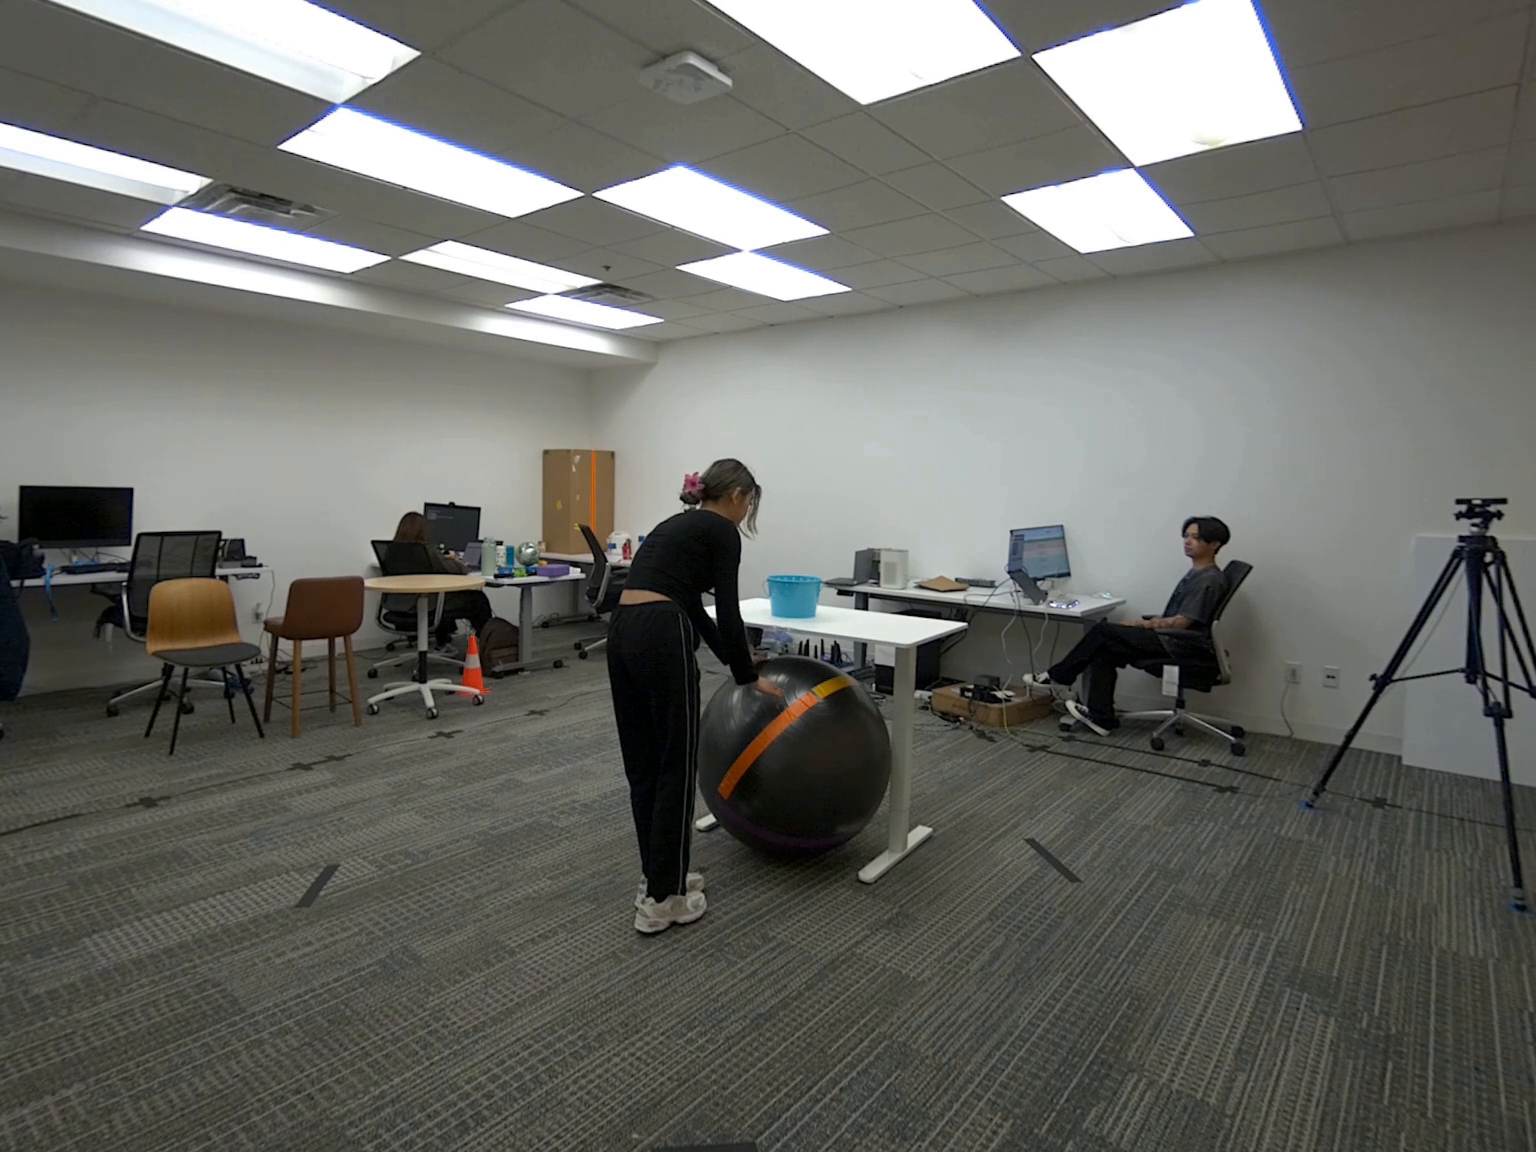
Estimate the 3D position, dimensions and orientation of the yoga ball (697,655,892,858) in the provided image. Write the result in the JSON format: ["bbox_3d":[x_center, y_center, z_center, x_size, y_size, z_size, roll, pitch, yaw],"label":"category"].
[{"bbox_3d":[0.094,0.692,3.289,0.757,0.756,0.761,1,4,-2],"label":"yoga ball"}]
